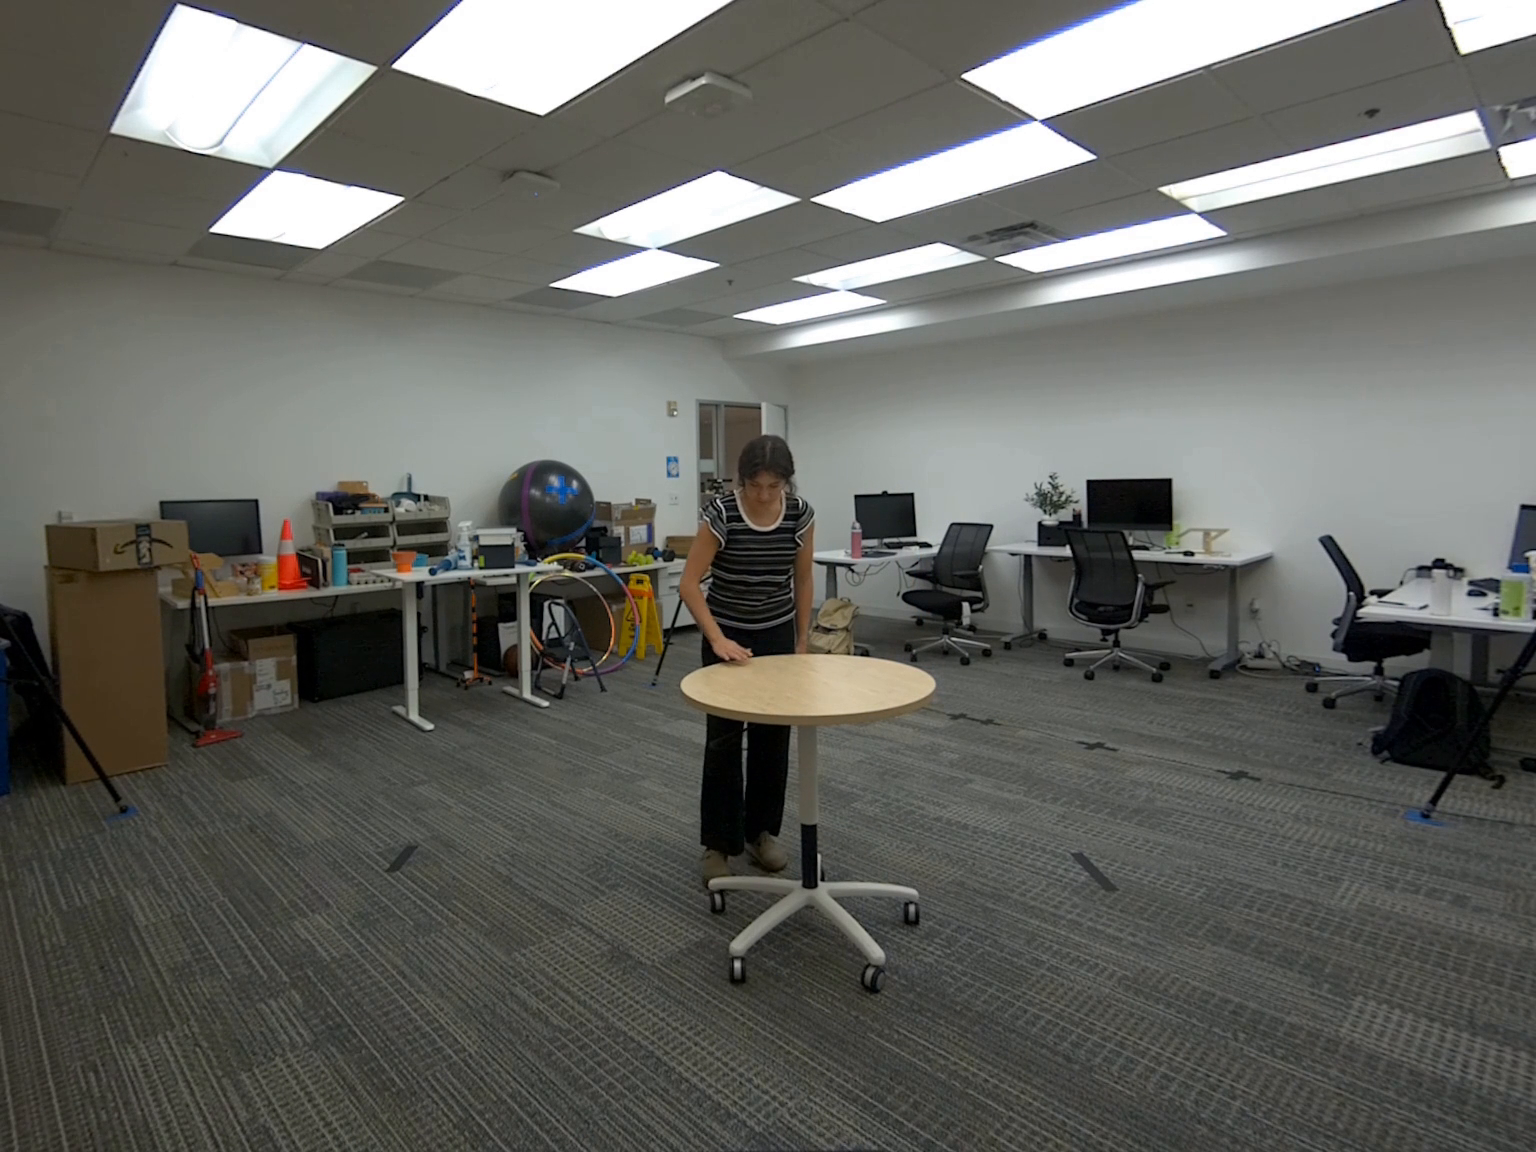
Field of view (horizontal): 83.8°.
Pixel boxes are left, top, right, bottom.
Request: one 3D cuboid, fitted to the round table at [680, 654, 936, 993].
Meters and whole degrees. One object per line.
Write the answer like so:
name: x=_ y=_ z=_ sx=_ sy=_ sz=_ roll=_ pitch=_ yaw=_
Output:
round table: x=0.132 y=0.711 z=2.616 sx=0.763 sy=0.791 sz=0.768 roll=-2 pitch=5 yaw=-2
